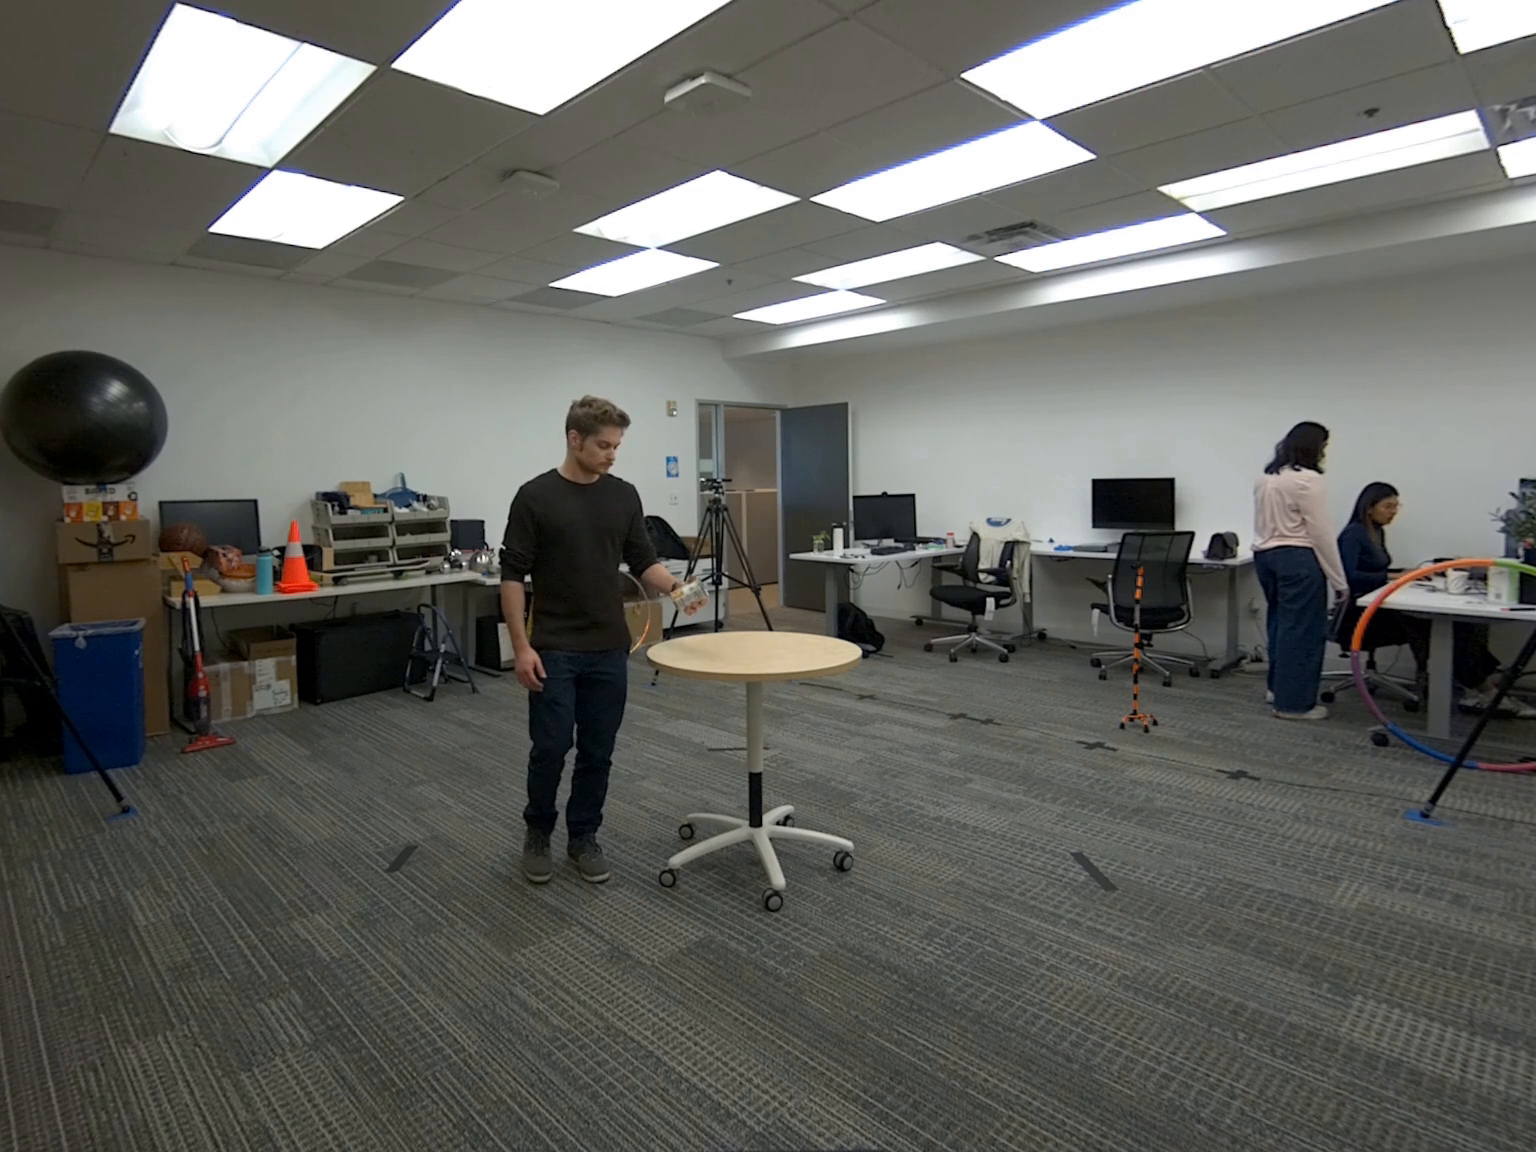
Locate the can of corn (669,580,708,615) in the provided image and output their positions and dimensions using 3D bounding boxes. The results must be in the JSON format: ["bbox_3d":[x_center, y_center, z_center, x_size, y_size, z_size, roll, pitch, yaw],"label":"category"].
[{"bbox_3d":[-0.278,0.063,2.911,0.111,0.074,0.074,-18,3,7],"label":"can of corn"}]
